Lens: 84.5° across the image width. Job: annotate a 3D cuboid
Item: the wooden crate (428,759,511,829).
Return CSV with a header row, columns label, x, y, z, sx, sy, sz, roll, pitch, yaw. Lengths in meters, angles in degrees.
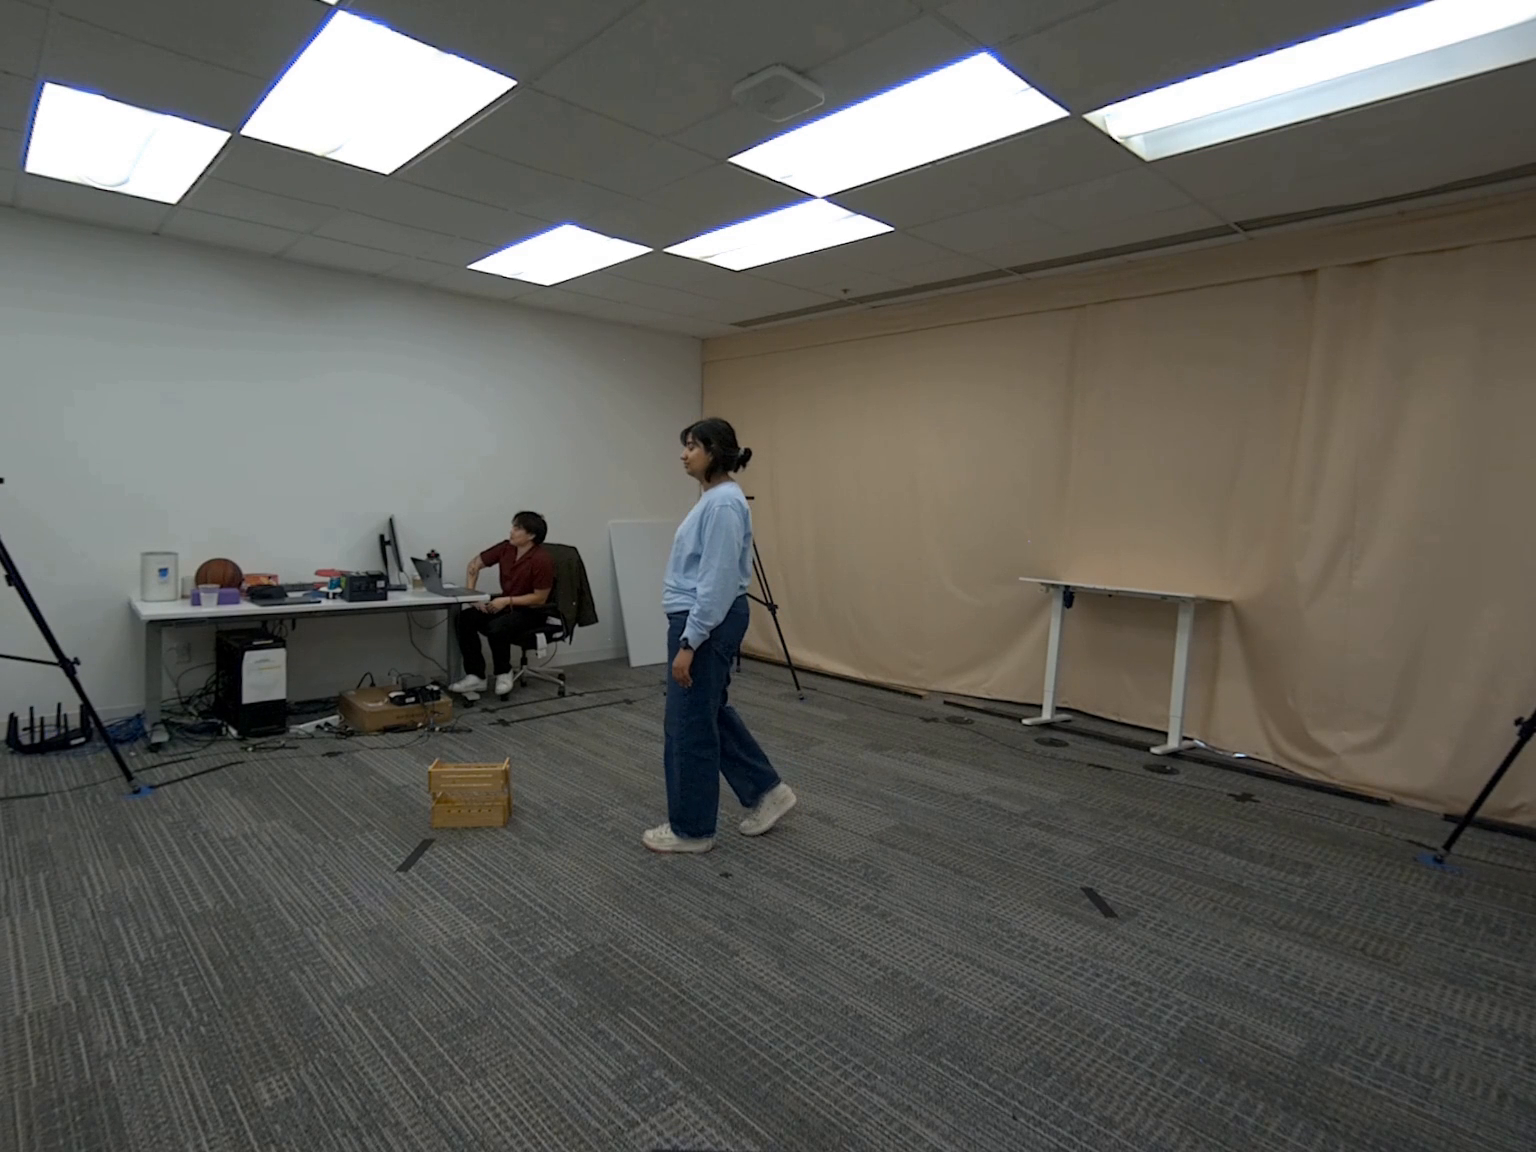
label,x,y,z,sx,sy,sz,roll,pitch,yaw
wooden crate,-1.264,0.897,3.598,0.322,0.272,0.305,1,5,-8
